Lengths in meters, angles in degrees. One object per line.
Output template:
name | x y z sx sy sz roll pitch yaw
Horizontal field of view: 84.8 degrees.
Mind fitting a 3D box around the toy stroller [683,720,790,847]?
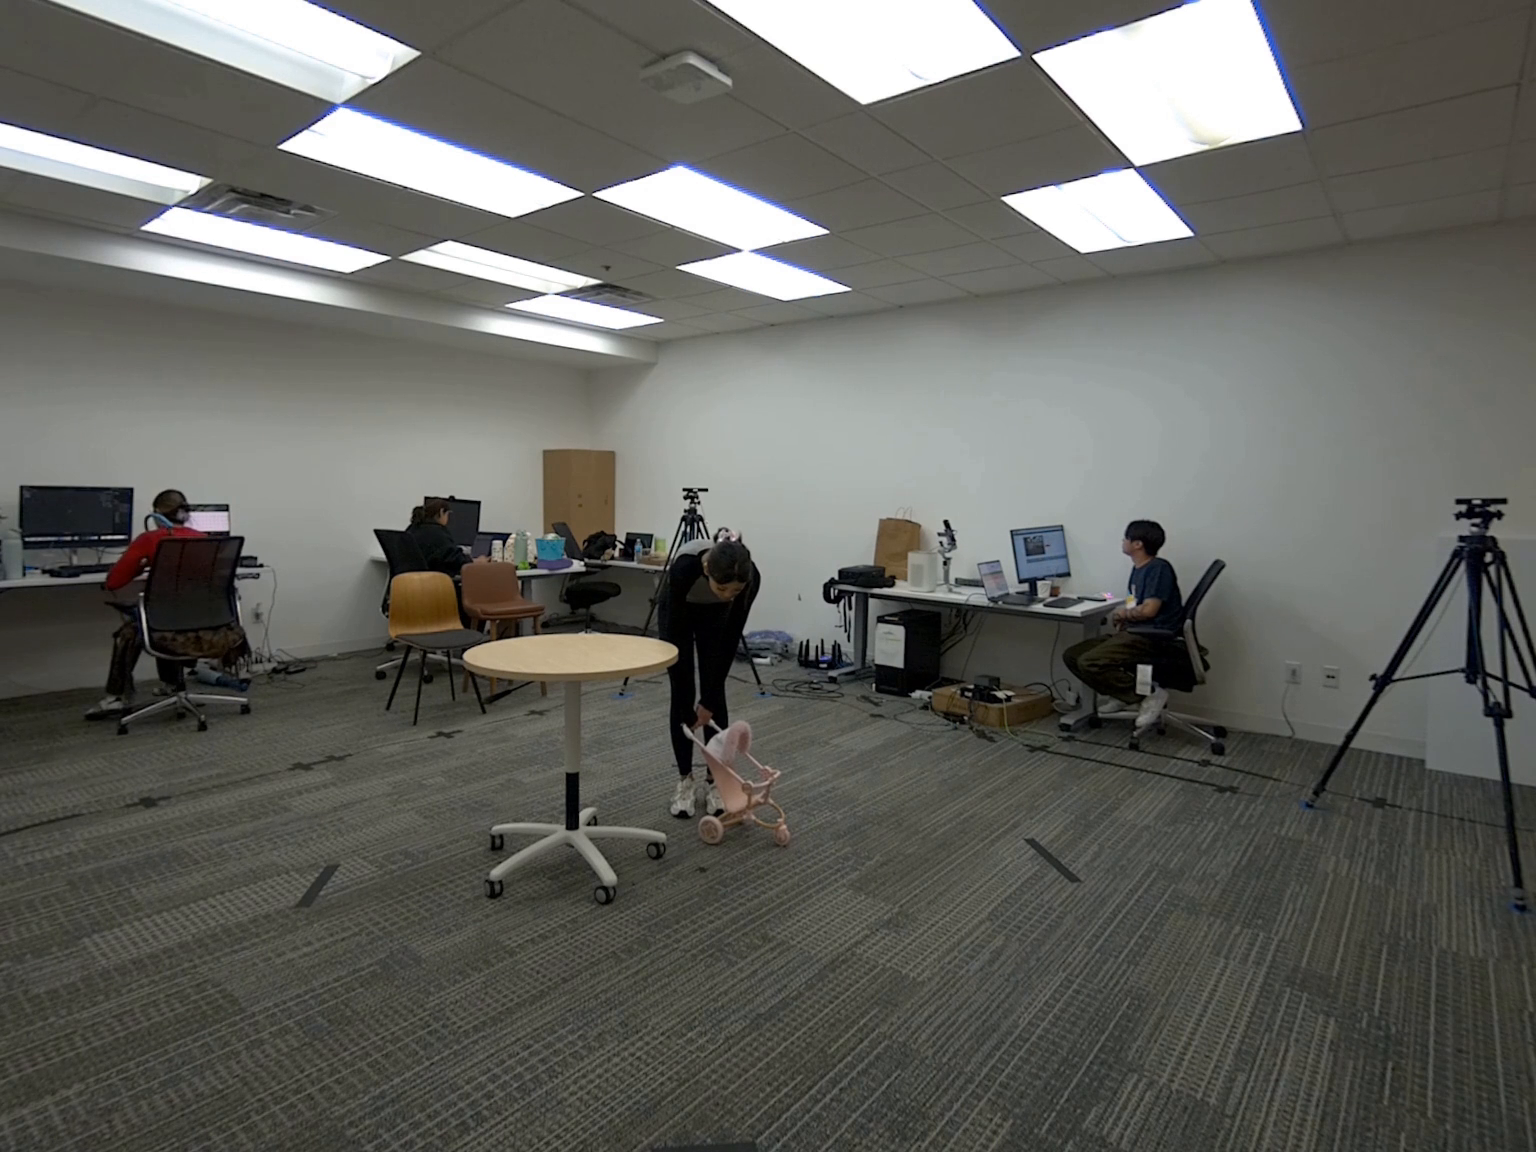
toy stroller | -0.118 0.816 3.405 0.348 0.537 0.275 -13 -3 29
